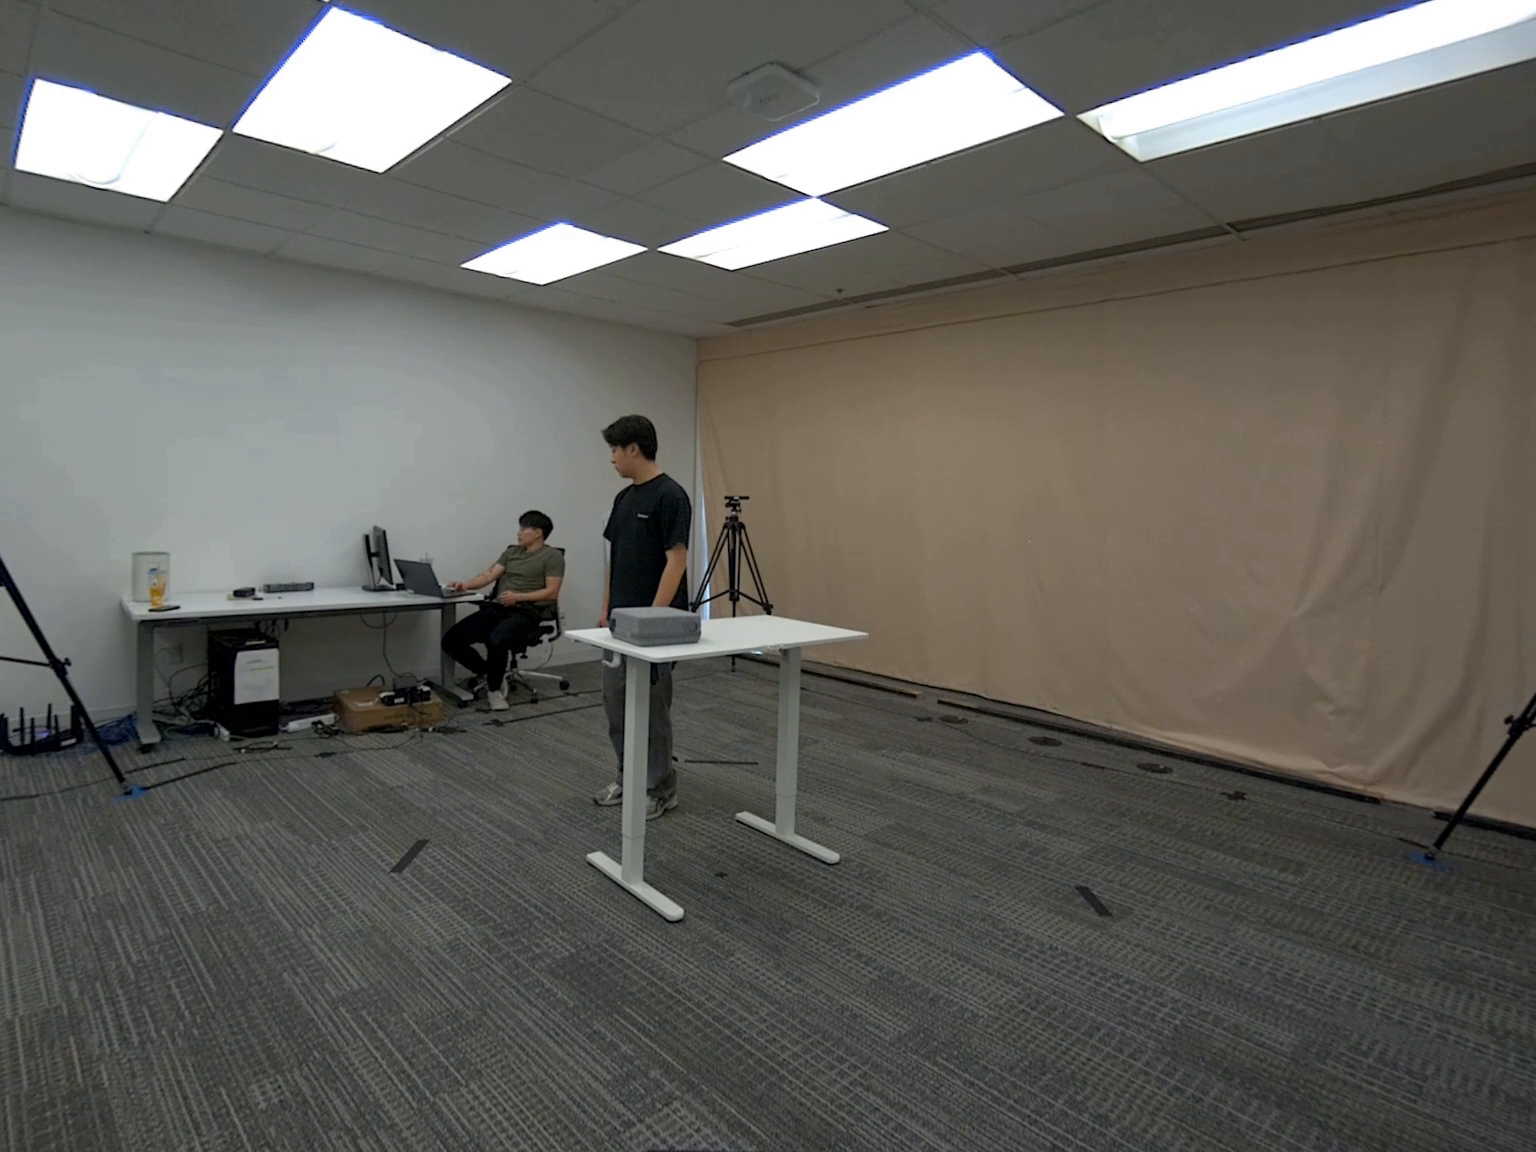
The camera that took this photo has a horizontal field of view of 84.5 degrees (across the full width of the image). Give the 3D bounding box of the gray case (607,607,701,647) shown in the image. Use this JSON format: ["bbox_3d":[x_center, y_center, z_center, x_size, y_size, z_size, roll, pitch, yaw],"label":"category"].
[{"bbox_3d":[-0.390,0.173,2.965,0.281,0.103,0.270,-1,5,-35],"label":"gray case"}]
